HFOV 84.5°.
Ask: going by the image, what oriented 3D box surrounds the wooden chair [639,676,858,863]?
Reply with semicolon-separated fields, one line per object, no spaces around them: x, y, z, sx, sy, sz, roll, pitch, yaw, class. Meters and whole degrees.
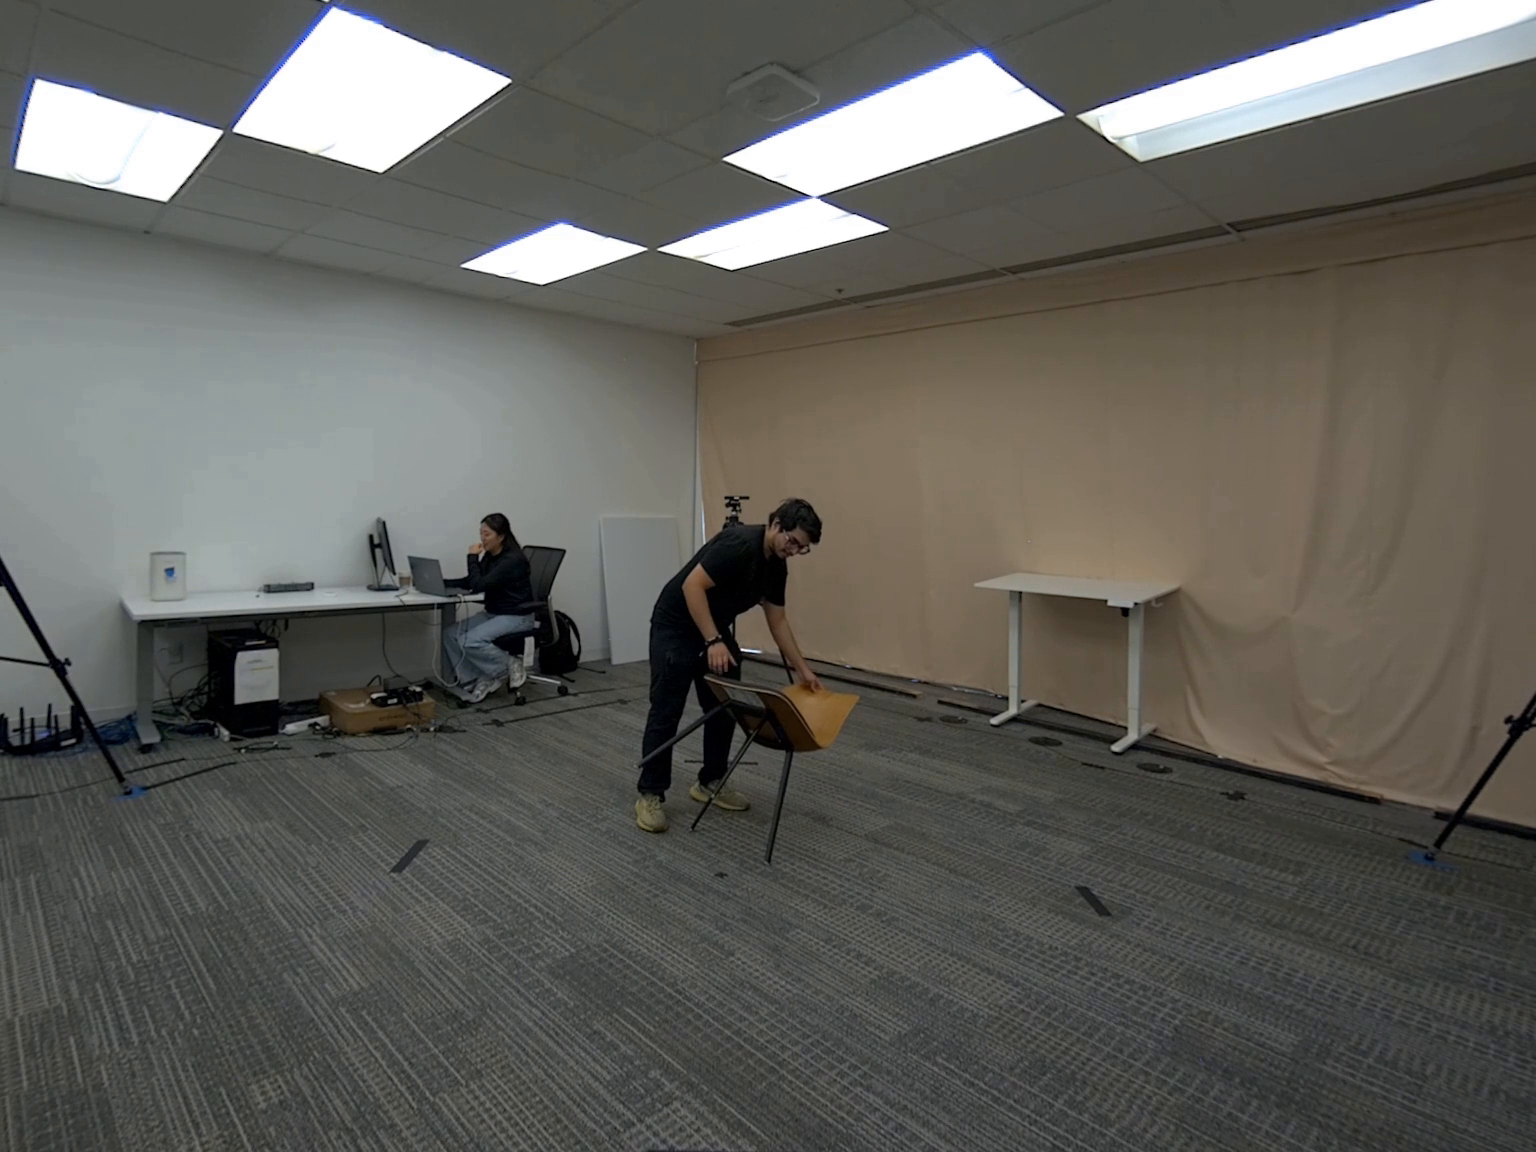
-0.039;0.618;3.442;0.490;0.510;0.877;4;43;44;wooden chair
